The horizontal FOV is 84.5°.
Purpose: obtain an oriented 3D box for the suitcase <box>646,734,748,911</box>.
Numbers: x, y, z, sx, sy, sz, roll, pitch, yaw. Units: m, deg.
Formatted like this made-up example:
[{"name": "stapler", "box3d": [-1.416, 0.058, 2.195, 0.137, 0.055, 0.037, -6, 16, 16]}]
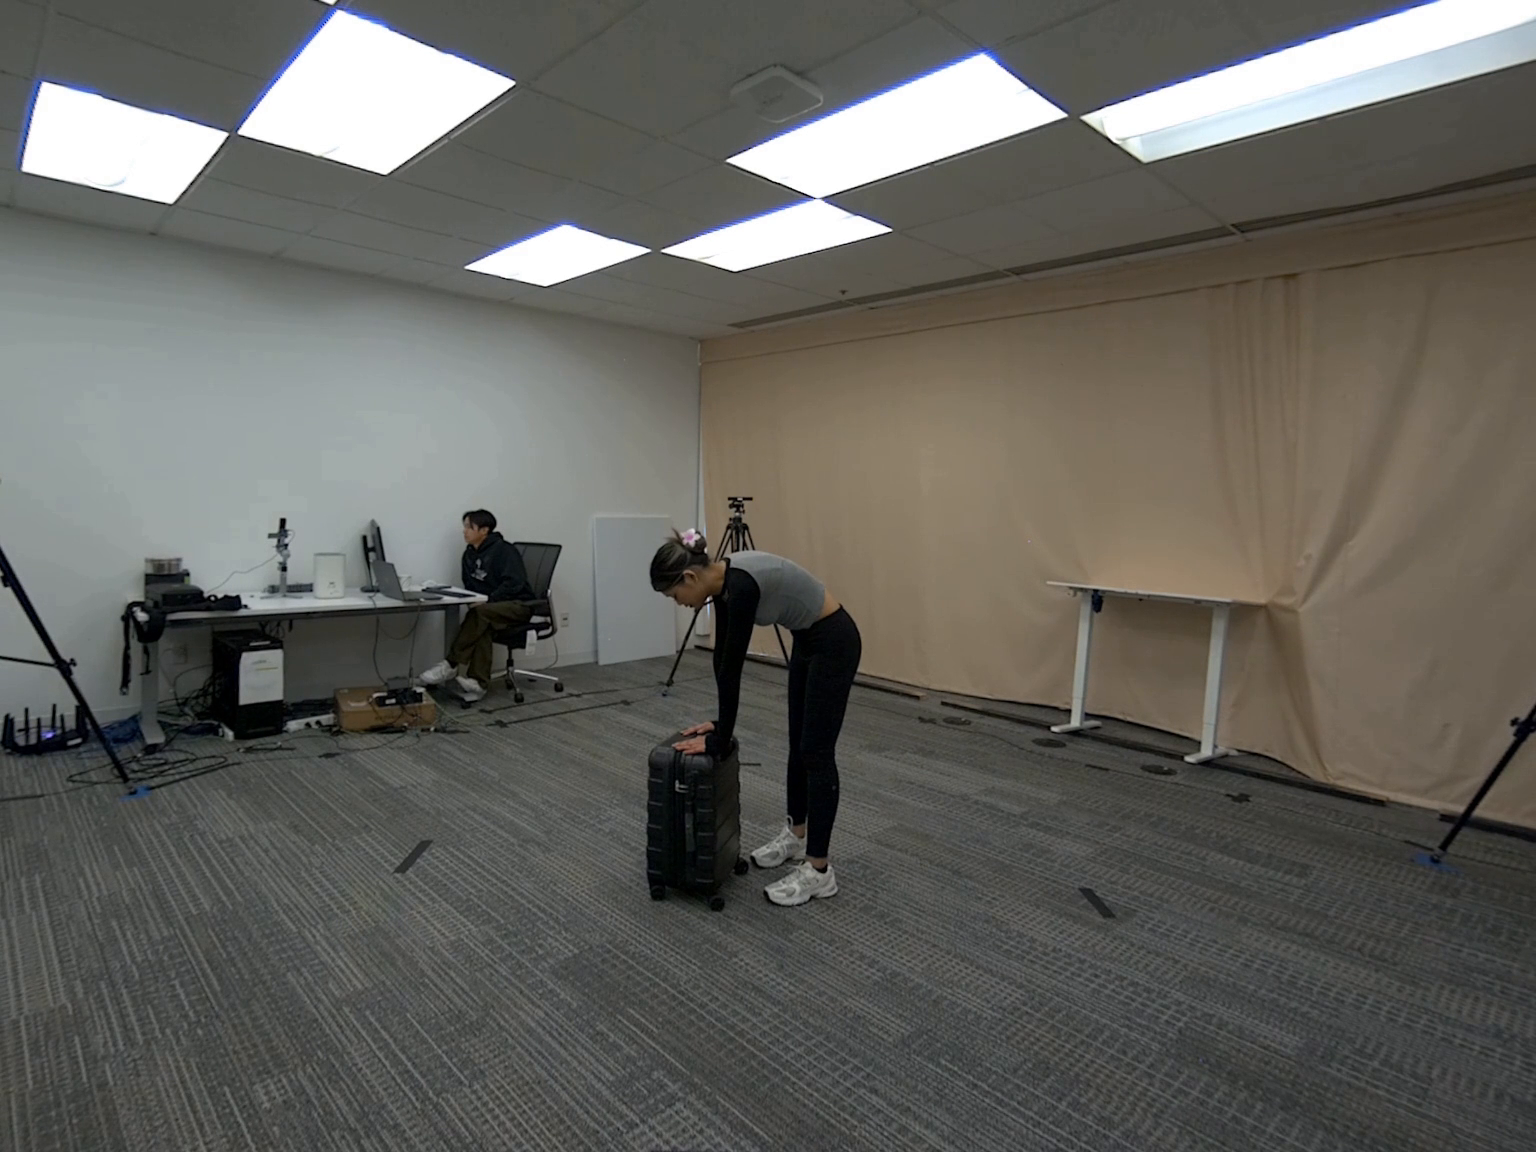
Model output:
[{"name": "suitcase", "box3d": [-0.262, 0.839, 3.004, 0.252, 0.548, 0.371, 1, 3, 18]}]
